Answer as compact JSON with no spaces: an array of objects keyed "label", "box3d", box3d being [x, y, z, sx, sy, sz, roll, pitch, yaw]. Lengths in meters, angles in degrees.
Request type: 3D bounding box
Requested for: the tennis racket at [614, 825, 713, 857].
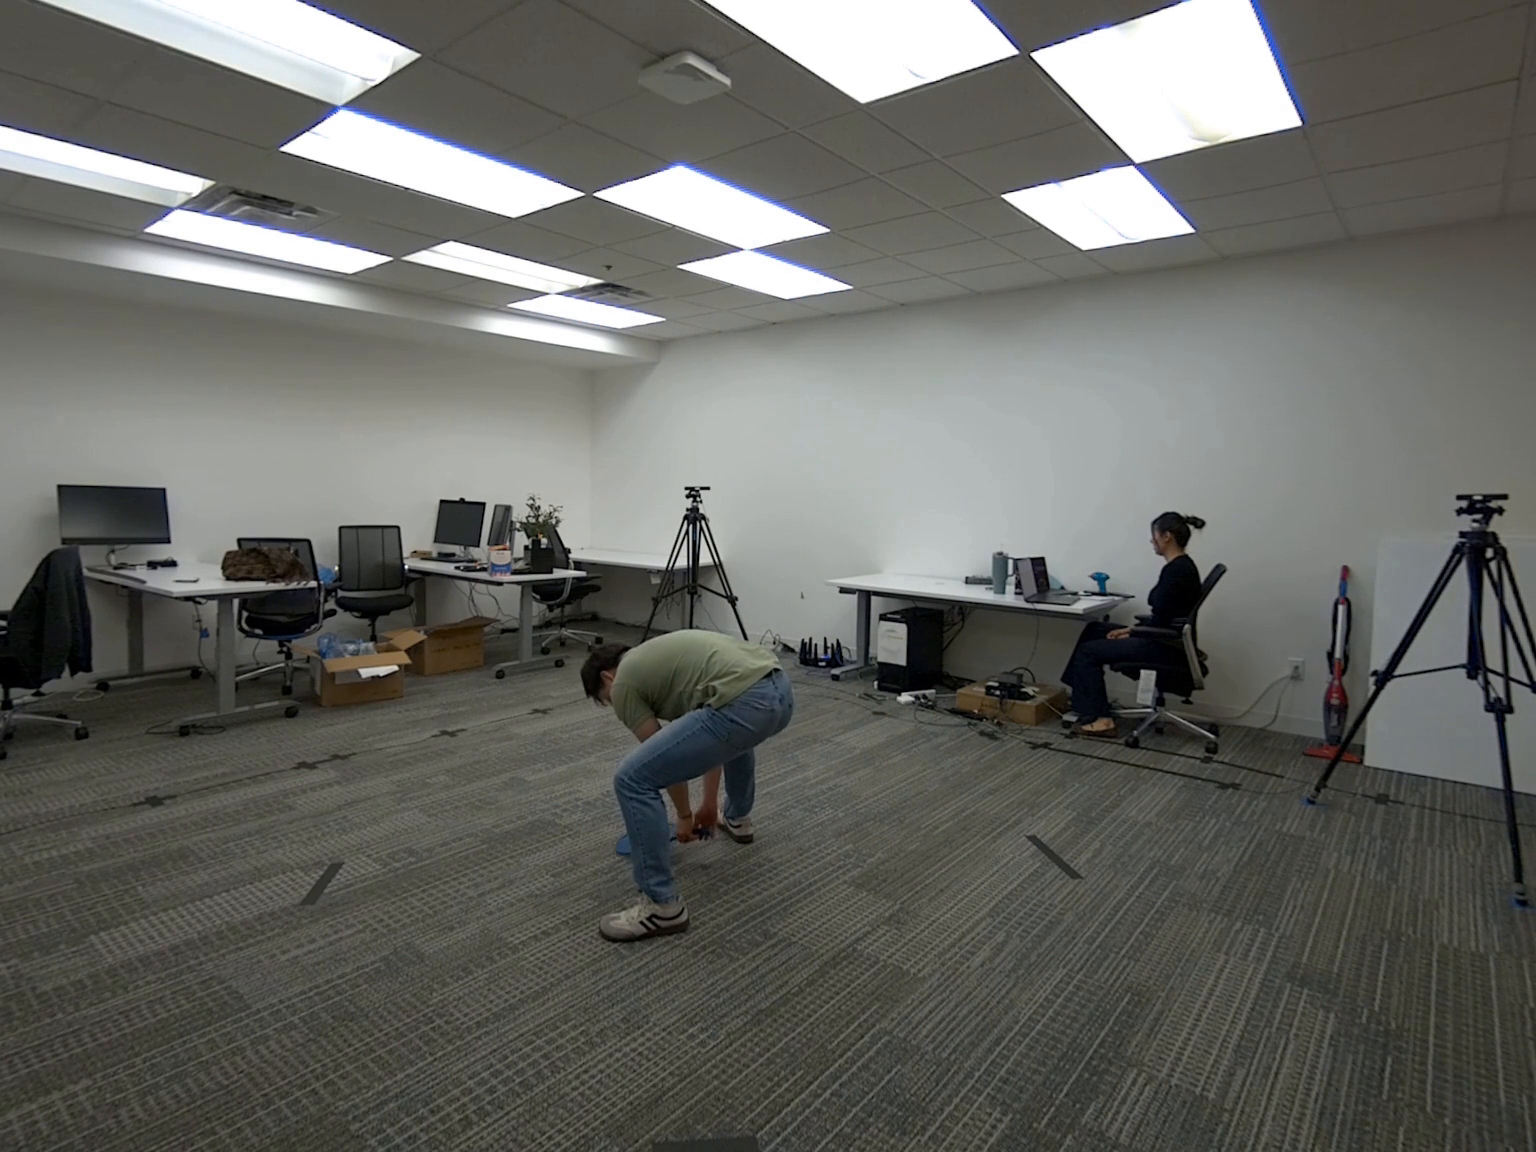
[{"label":"tennis racket","box3d":[-0.408,0.975,3.217,0.442,0.031,0.211,-13,9,31]}]
